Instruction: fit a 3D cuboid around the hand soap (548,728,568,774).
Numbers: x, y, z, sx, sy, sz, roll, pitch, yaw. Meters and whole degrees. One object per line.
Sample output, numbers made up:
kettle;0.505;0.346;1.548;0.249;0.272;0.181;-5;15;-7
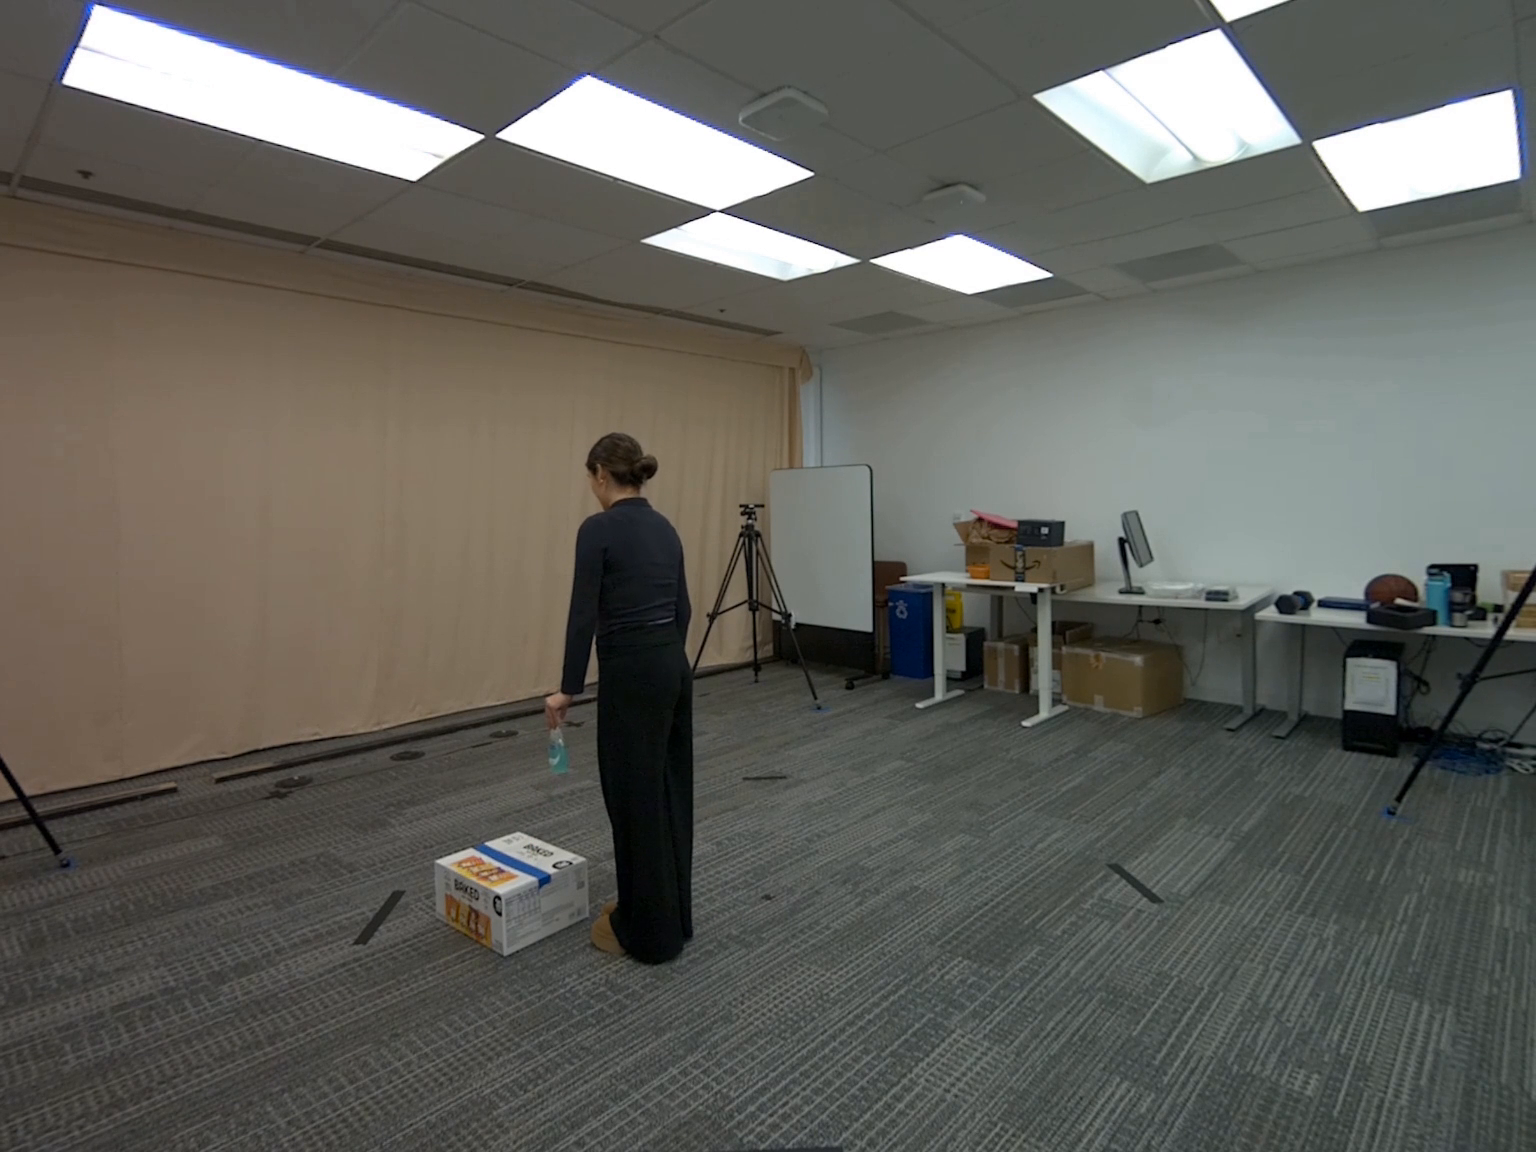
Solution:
hand soap;-0.651;0.527;2.609;0.087;0.167;0.042;4;8;40
